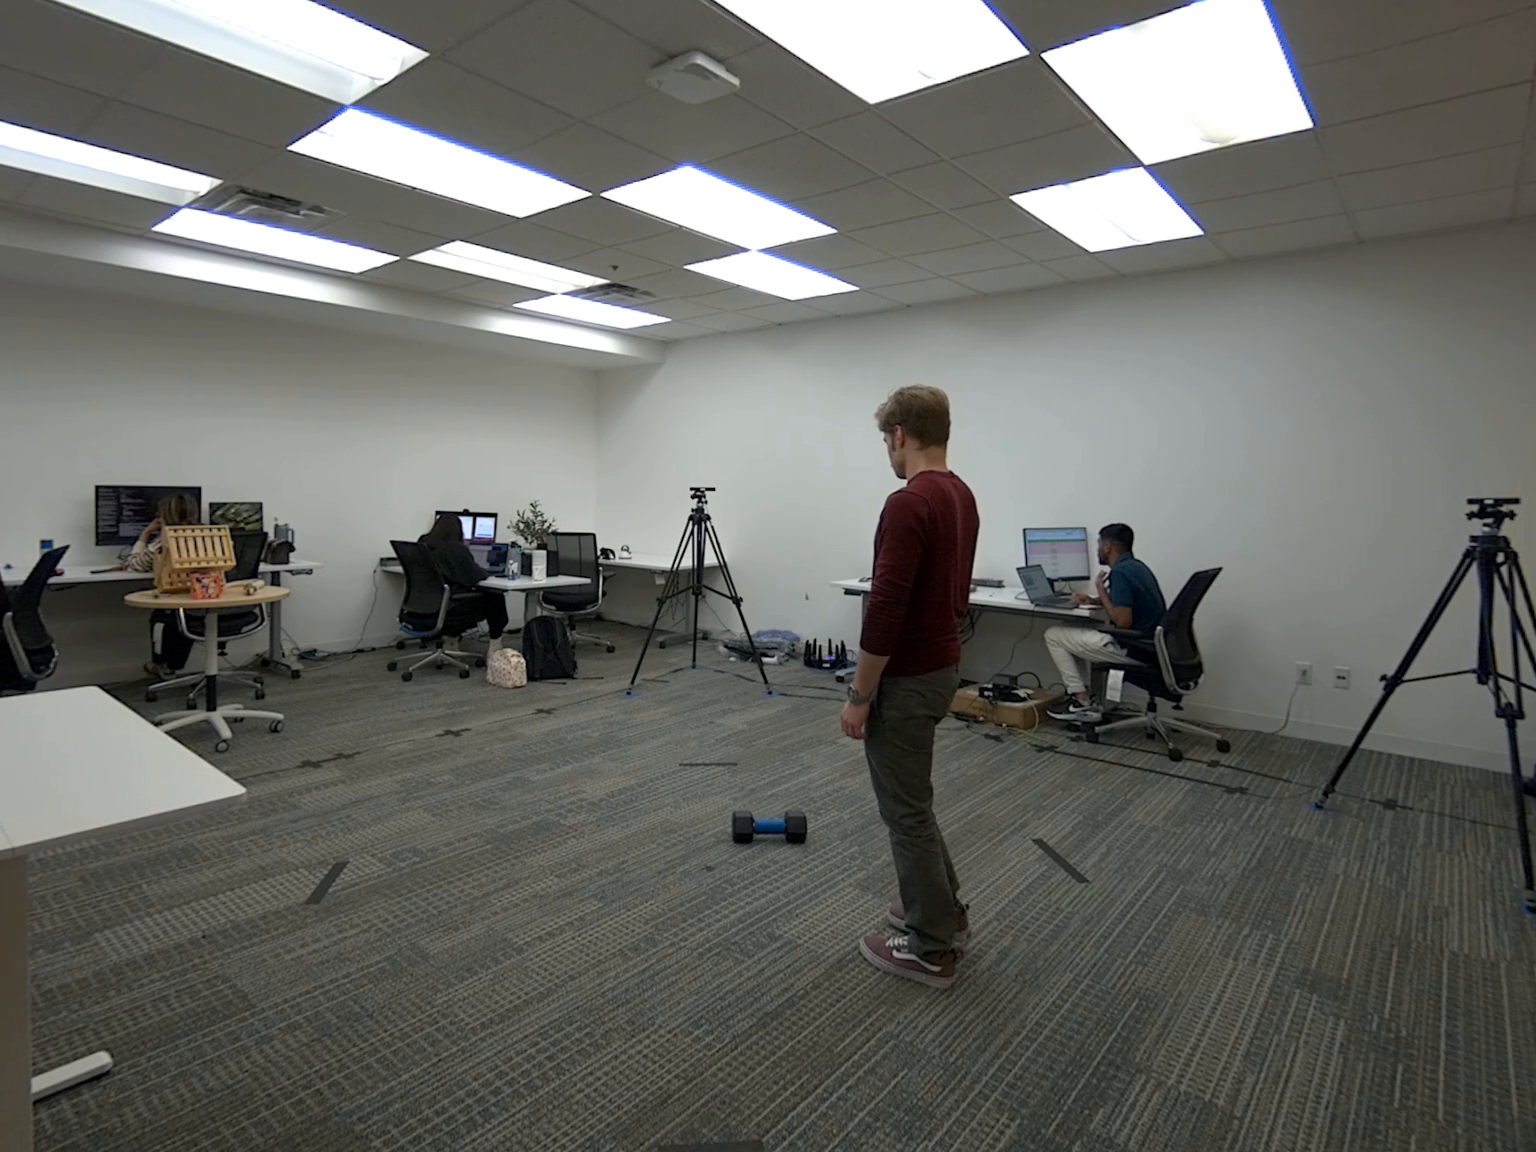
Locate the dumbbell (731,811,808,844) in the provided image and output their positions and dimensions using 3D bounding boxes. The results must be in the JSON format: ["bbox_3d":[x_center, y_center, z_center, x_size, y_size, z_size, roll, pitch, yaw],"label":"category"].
[{"bbox_3d":[-0.001,0.993,3.372,0.292,0.120,0.112,1,34,-4],"label":"dumbbell"}]
